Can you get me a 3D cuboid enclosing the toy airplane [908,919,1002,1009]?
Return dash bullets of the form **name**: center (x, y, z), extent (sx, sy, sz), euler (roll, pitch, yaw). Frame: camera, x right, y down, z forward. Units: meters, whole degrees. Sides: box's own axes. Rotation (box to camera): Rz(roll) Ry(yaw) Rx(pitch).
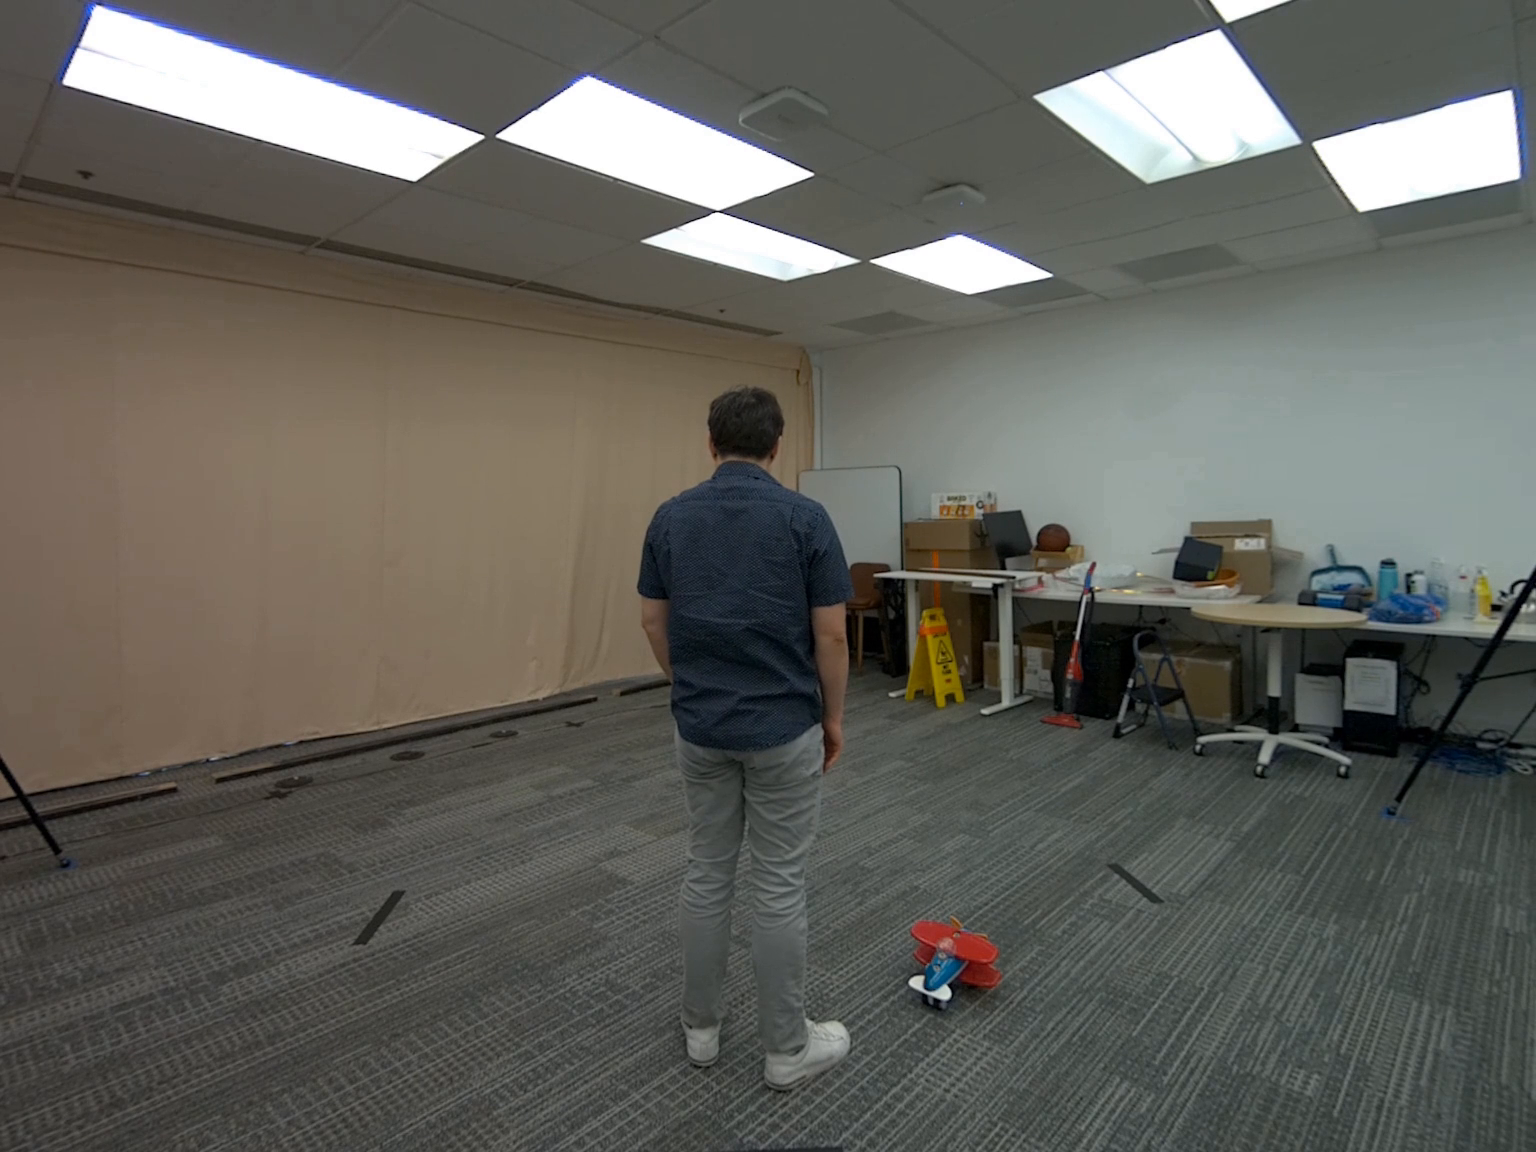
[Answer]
- **toy airplane**: center (0.535, 1.107, 2.379), extent (0.255, 0.156, 0.256), euler (1, 4, 13)
